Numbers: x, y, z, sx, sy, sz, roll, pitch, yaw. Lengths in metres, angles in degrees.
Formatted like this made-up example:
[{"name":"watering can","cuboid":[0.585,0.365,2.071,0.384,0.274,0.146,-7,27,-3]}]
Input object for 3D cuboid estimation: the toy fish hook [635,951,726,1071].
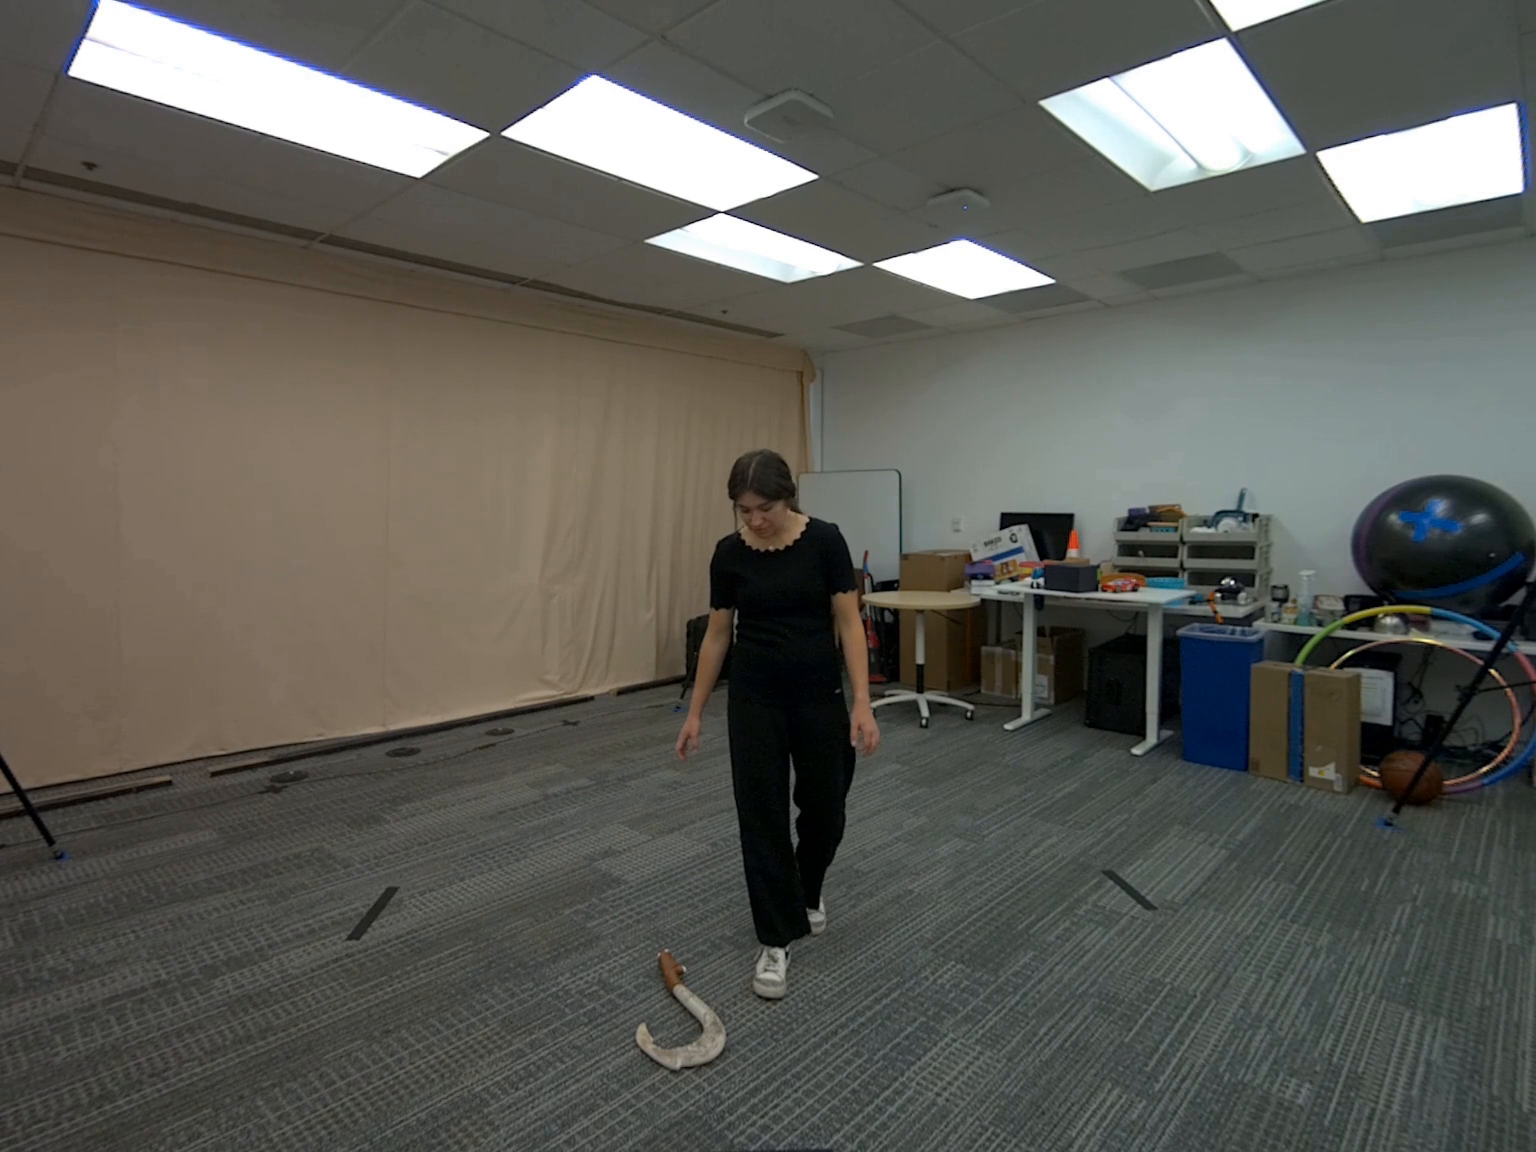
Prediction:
[{"name":"toy fish hook","cuboid":[-0.272,1.180,2.312,0.220,0.048,0.518,-1,4,-20]}]
